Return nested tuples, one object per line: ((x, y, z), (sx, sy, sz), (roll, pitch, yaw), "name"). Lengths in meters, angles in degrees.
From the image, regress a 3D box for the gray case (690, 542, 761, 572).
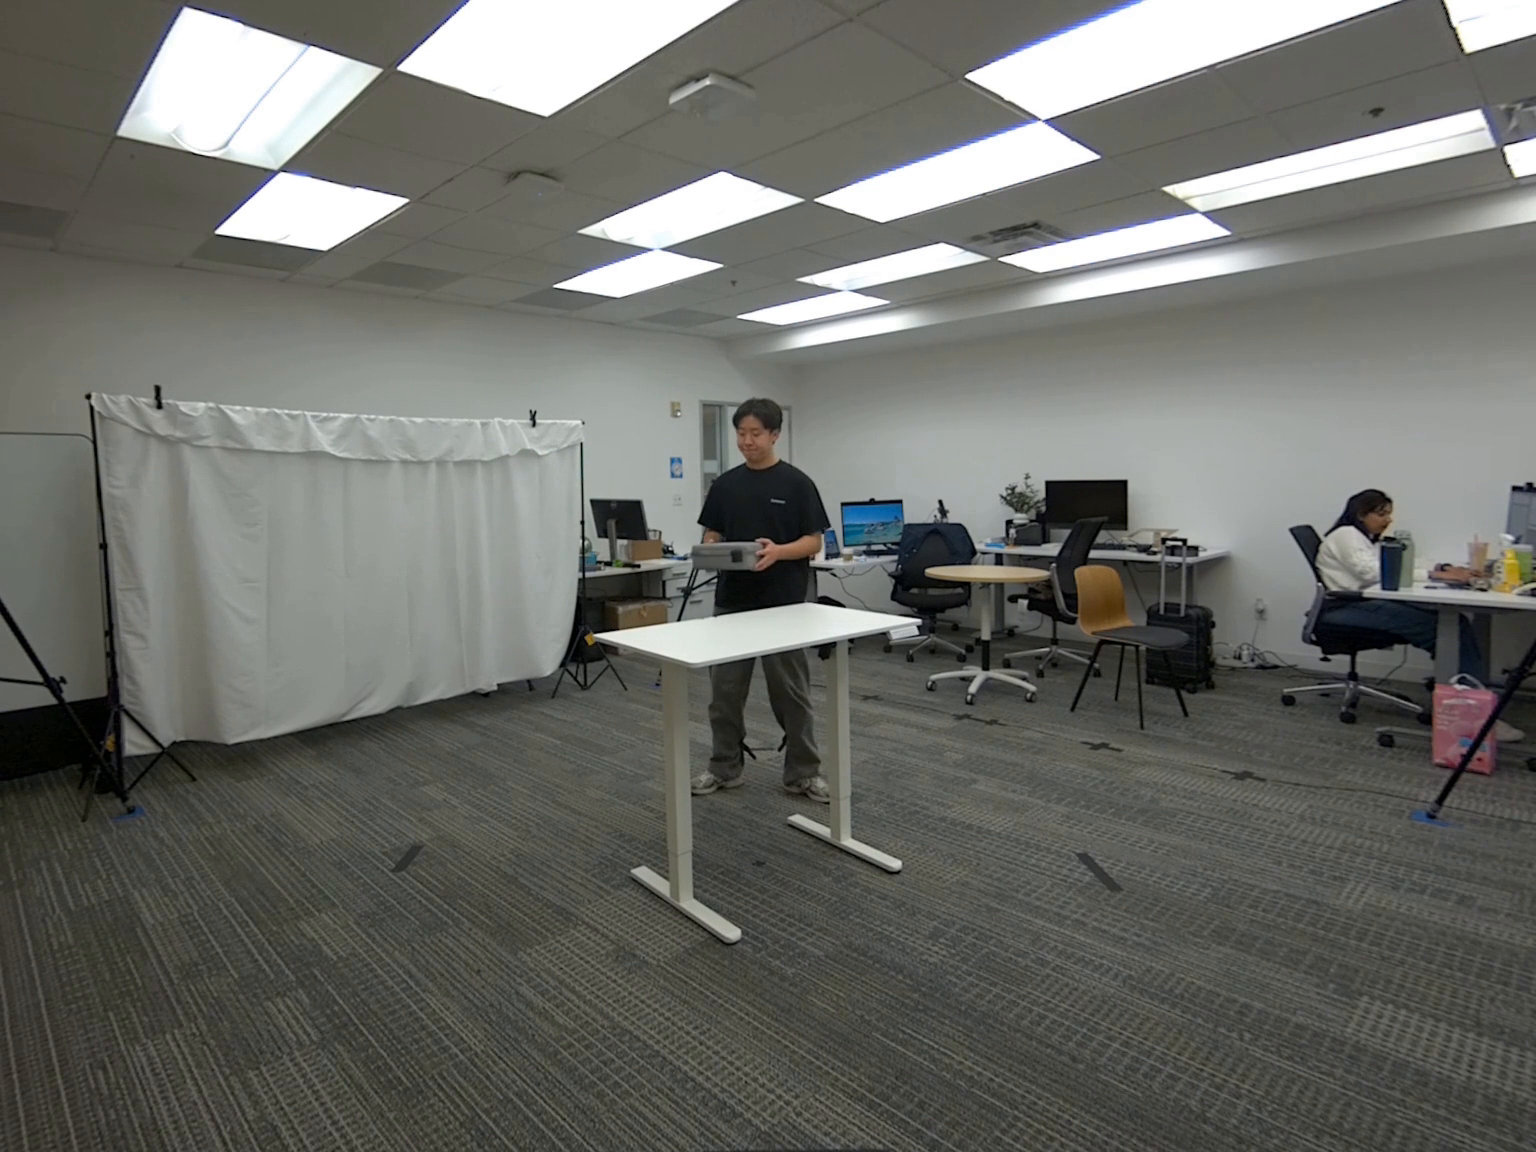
((-0.162, -0.077, 3.481), (0.267, 0.103, 0.283), (-2, 5, 17), "gray case")
